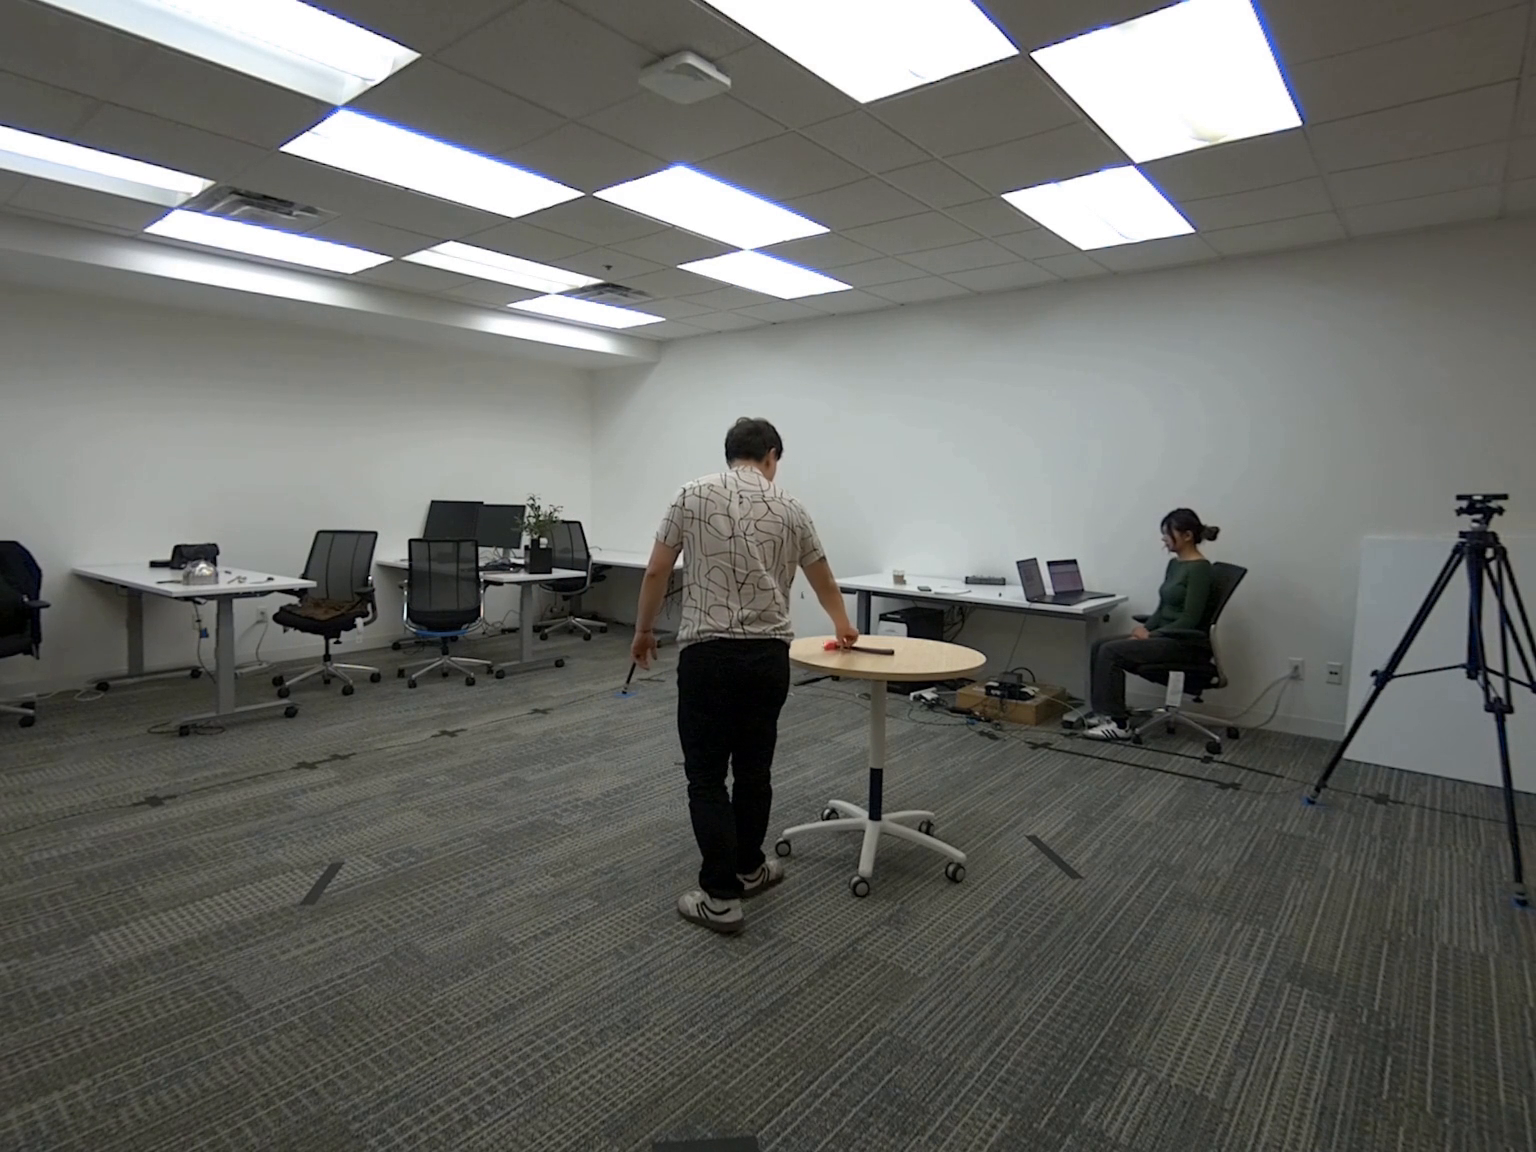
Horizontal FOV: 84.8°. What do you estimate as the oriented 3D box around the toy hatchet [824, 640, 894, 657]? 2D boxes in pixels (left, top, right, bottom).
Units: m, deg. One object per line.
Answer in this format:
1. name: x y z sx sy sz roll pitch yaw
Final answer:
1. toy hatchet: 0.338 0.266 3.248 0.272 0.029 0.131 3 10 8
